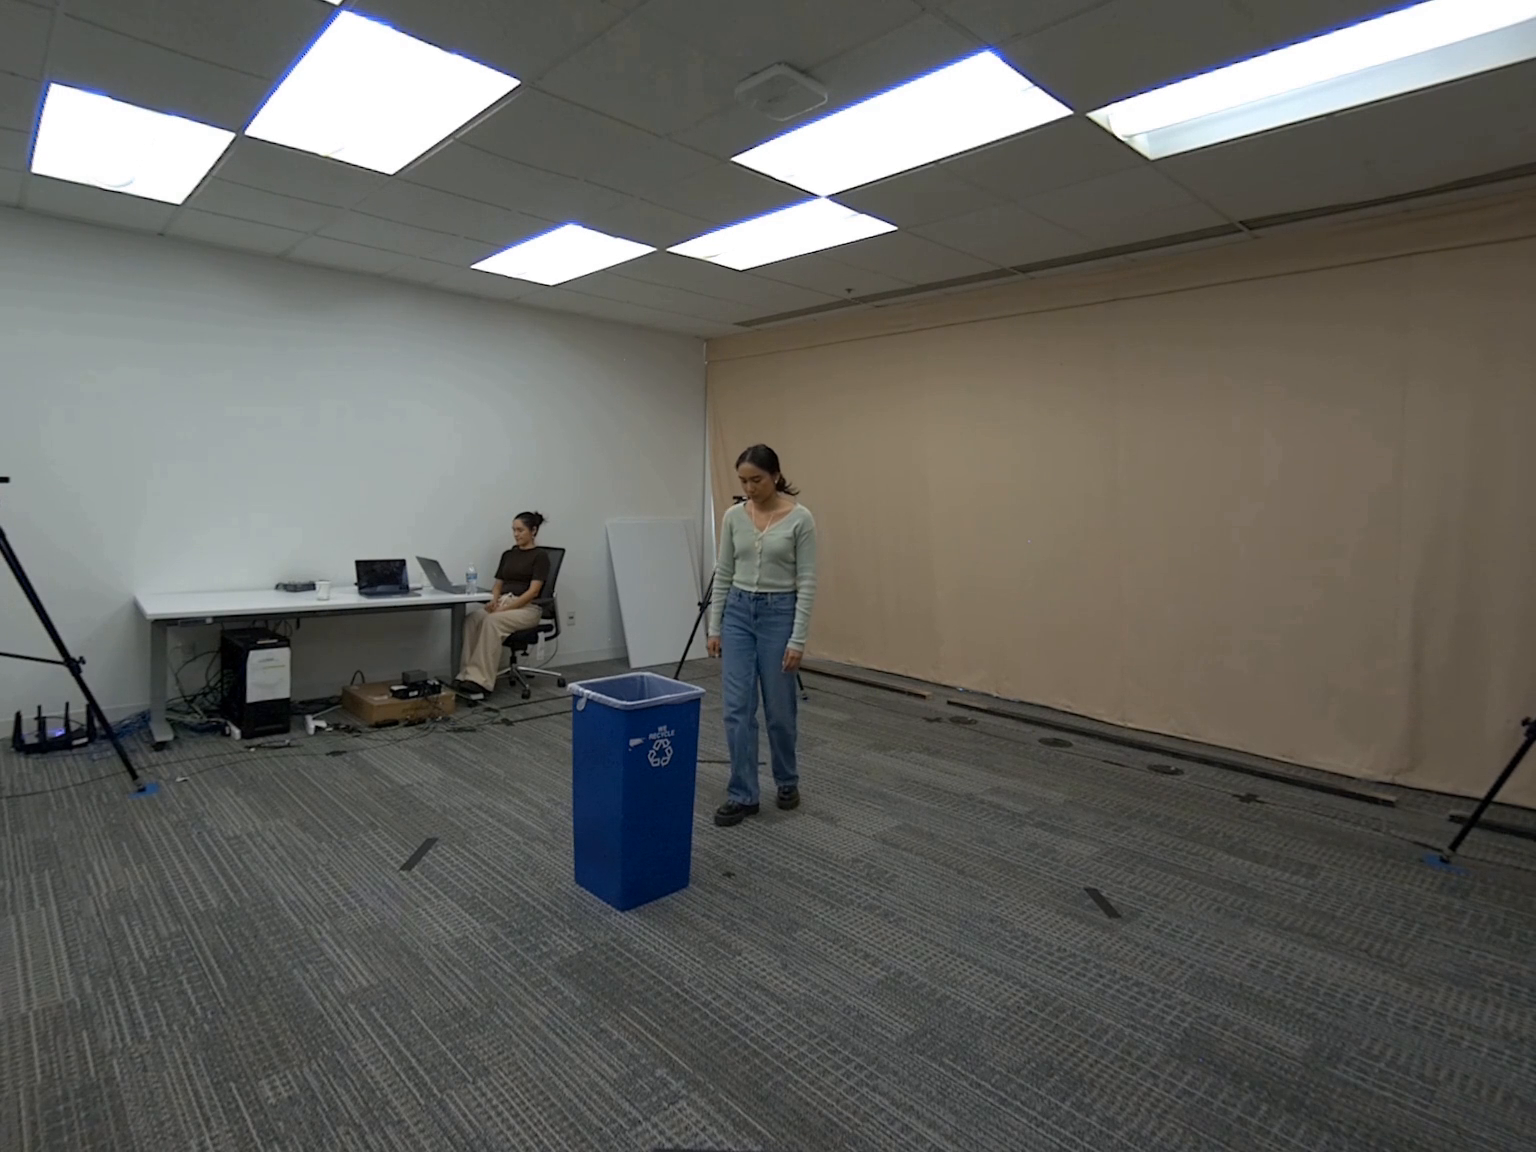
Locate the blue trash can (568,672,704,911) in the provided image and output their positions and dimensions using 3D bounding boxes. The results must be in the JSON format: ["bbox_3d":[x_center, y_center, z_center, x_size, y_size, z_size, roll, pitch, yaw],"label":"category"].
[{"bbox_3d":[-0.482,0.748,3.000,0.365,0.712,0.388,-2,5,-45],"label":"blue trash can"}]
